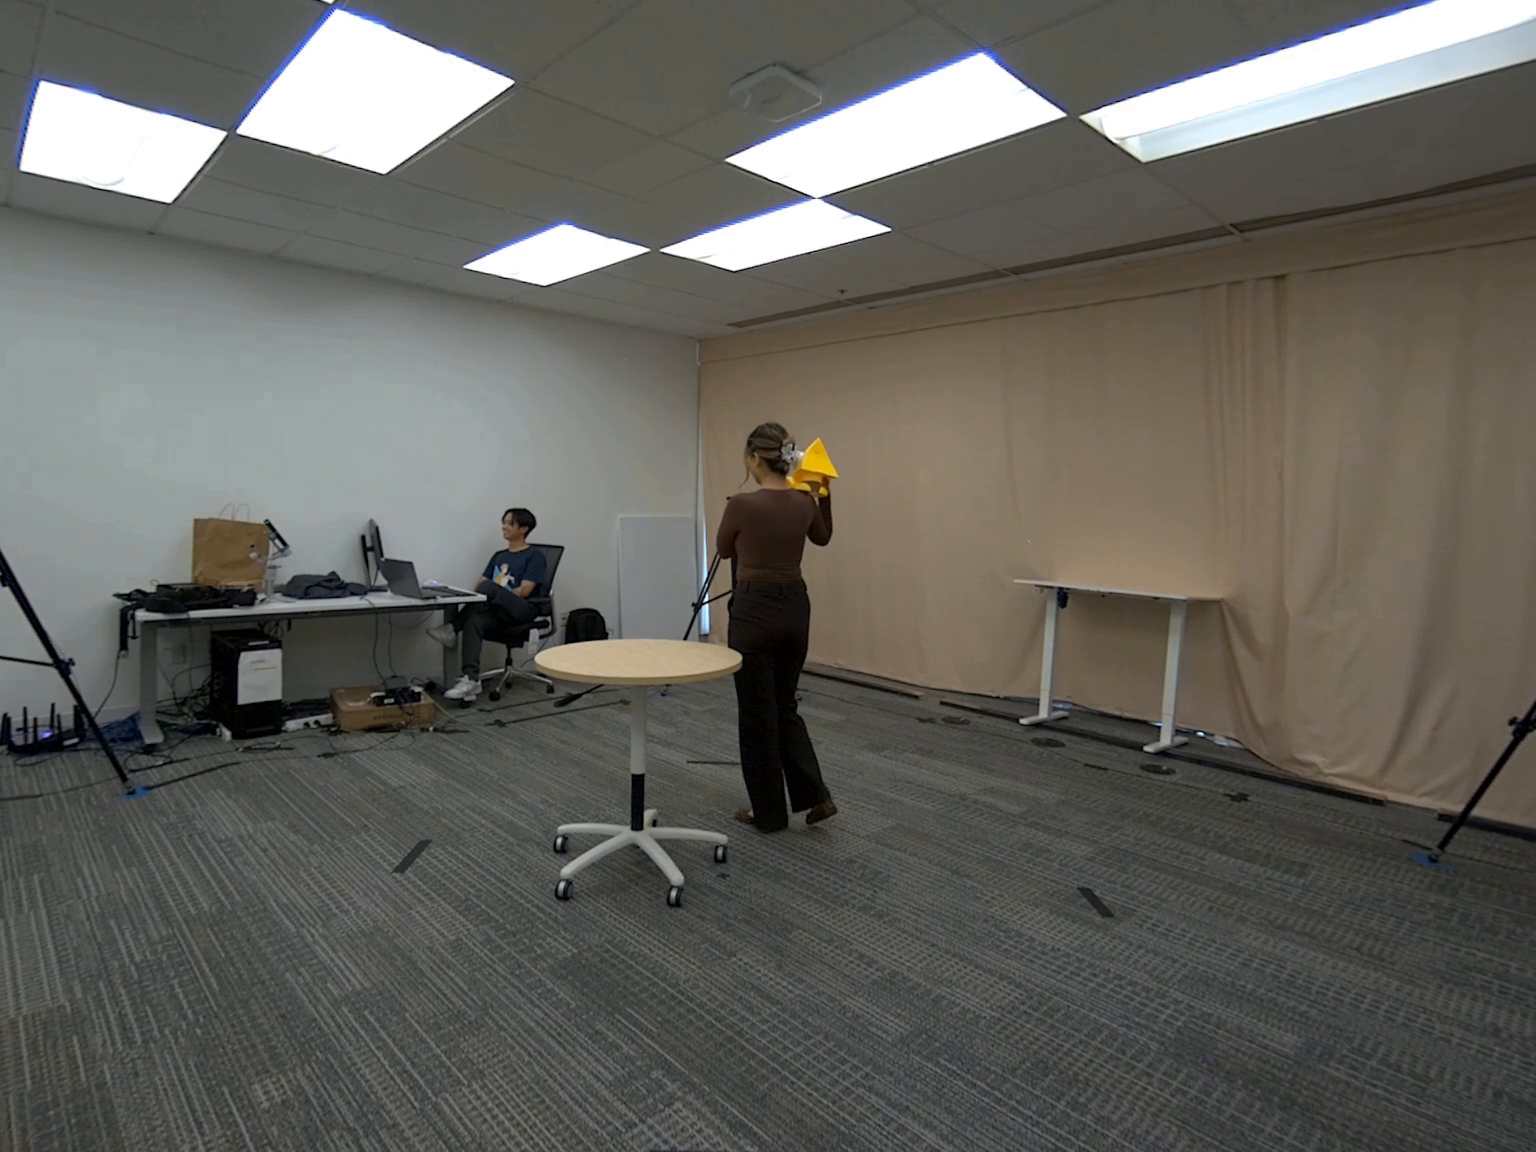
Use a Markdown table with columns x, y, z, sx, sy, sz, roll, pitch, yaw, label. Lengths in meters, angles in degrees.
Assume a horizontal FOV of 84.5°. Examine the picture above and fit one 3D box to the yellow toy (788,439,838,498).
| x | y | z | sx | sy | sz | roll | pitch | yaw | label |
| --- | --- | --- | --- | --- | --- | --- | --- | --- | --- |
| 0.155 | -0.464 | 3.554 | 0.199 | 0.231 | 0.197 | 9 | -6 | -40 | yellow toy |
